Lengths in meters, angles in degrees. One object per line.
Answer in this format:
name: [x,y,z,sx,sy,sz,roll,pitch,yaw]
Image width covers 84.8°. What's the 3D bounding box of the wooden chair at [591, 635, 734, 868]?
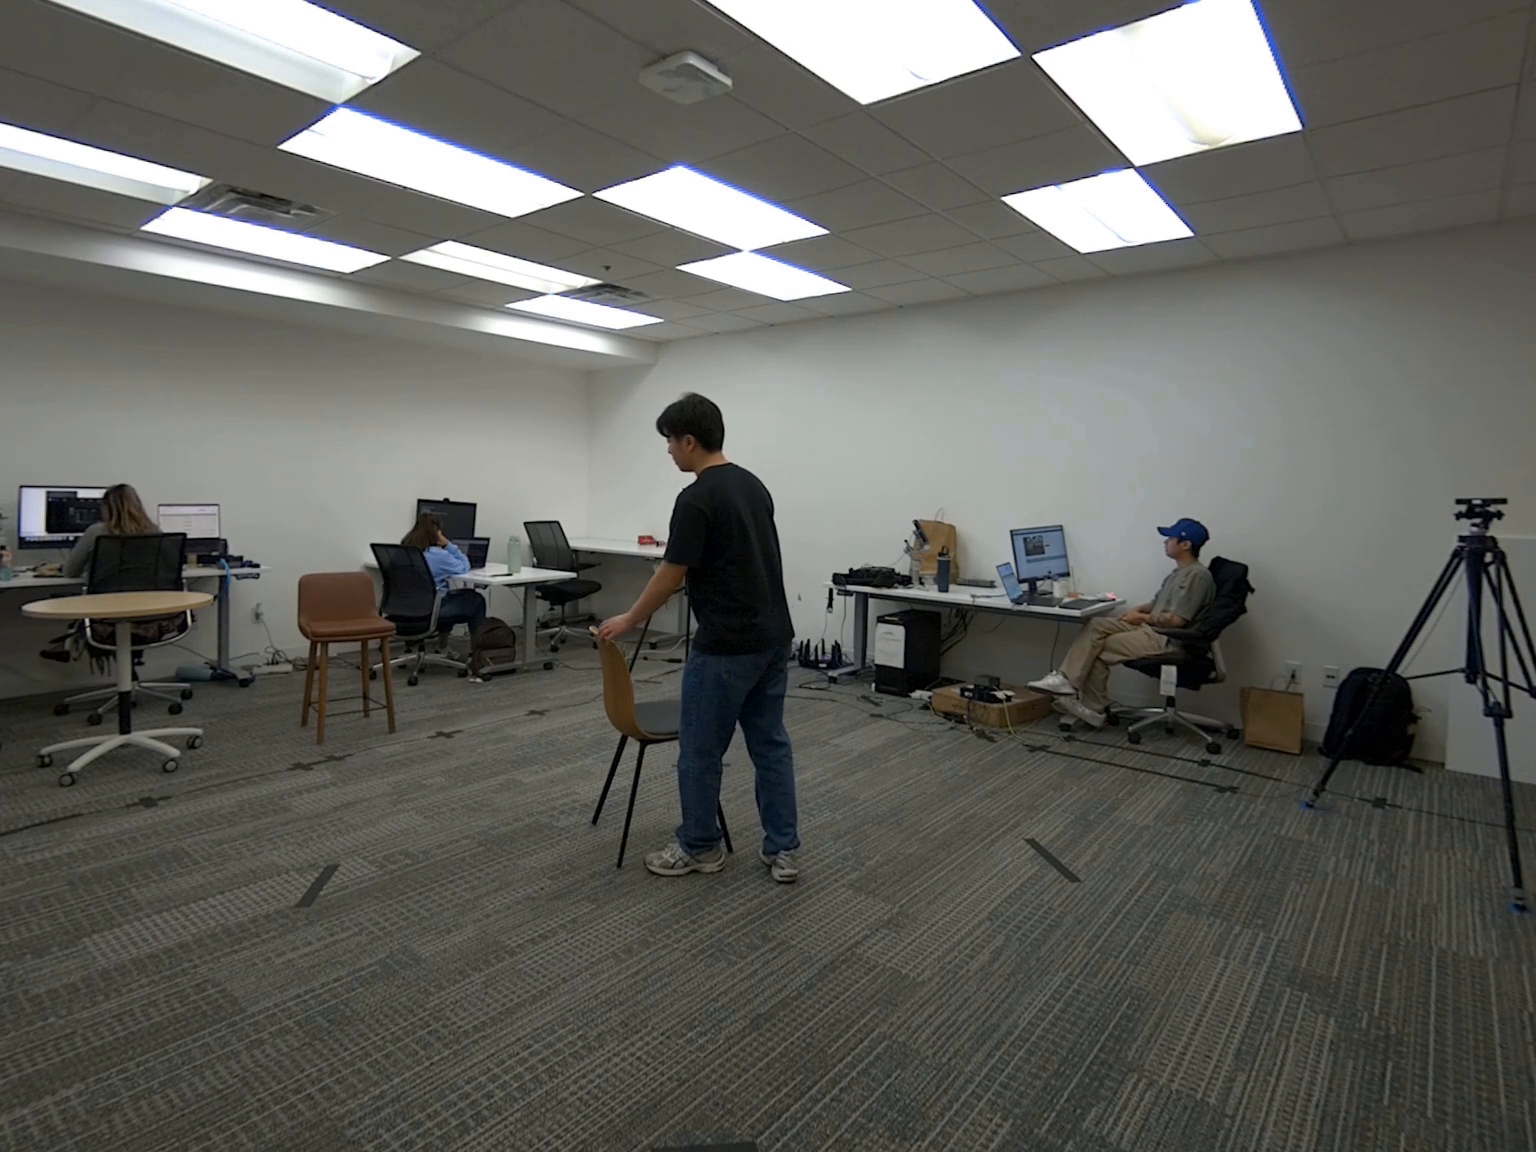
wooden chair: [-0.430,0.614,3.363,0.513,0.873,0.490,-5,5,-22]
